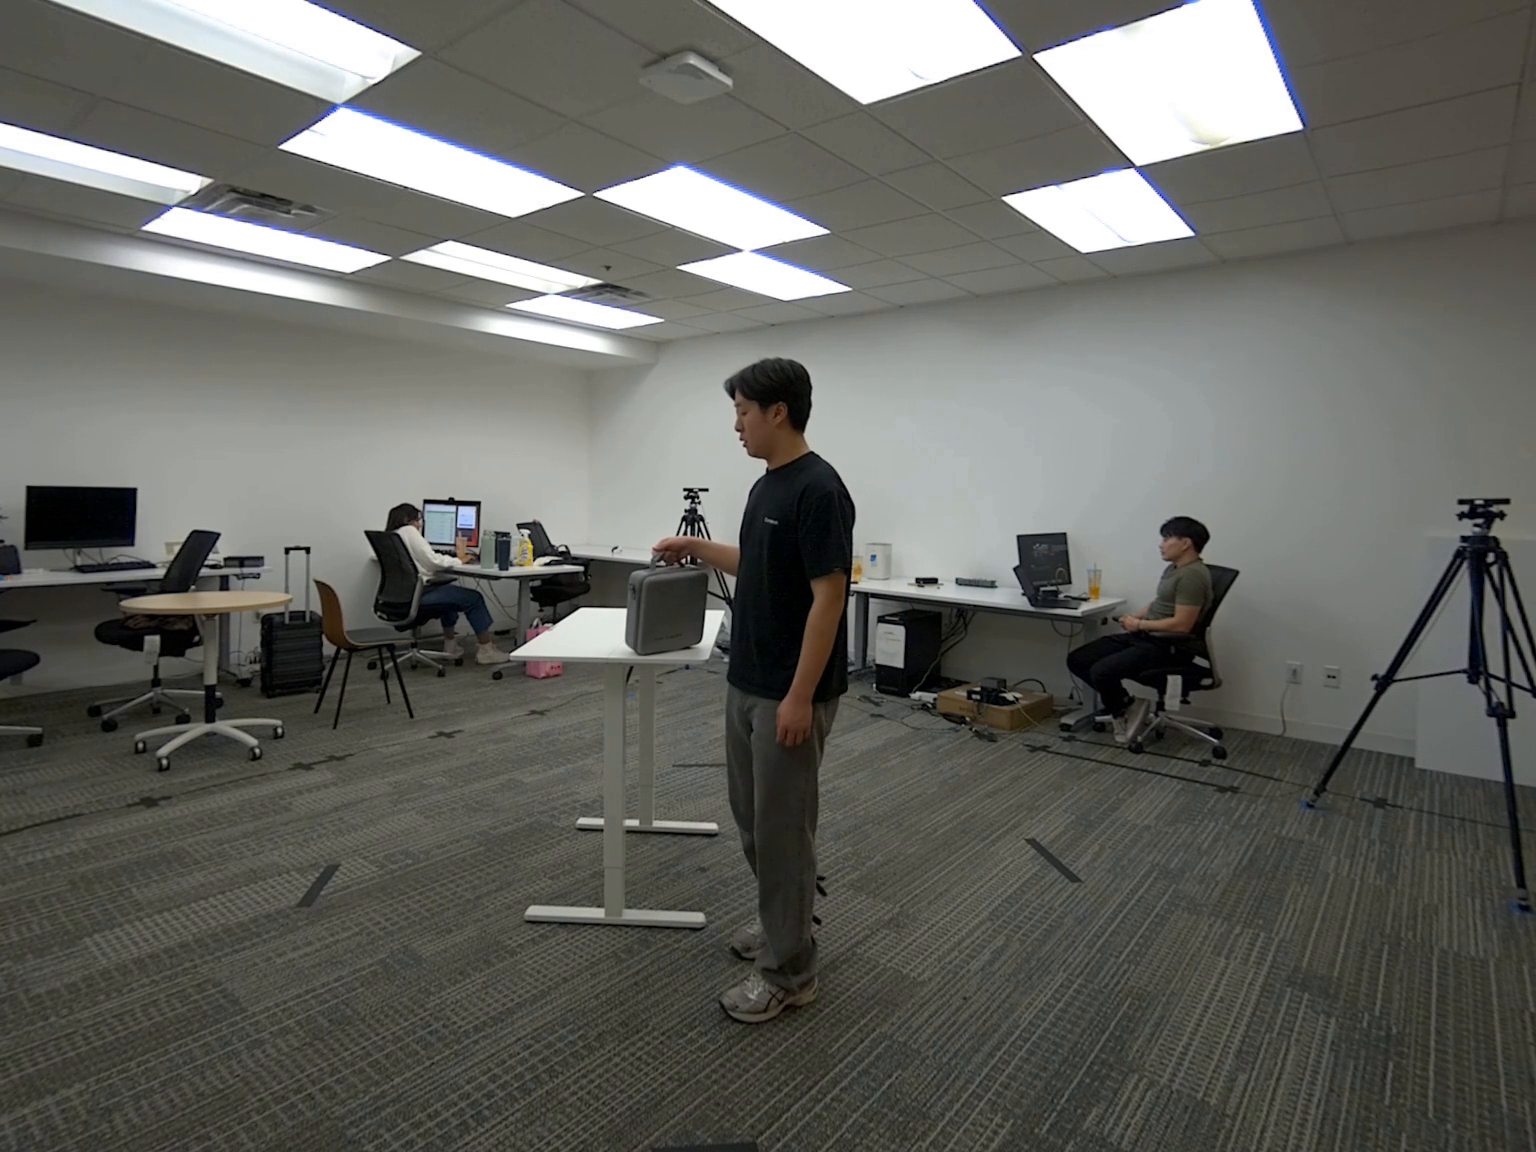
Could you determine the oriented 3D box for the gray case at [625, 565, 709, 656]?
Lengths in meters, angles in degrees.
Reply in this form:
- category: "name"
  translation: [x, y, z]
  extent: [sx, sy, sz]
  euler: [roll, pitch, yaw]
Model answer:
- category: "gray case"
  translation: [-0.322, 0.087, 2.641]
  extent: [0.256, 0.284, 0.107]
  euler: [-7, 16, -41]
